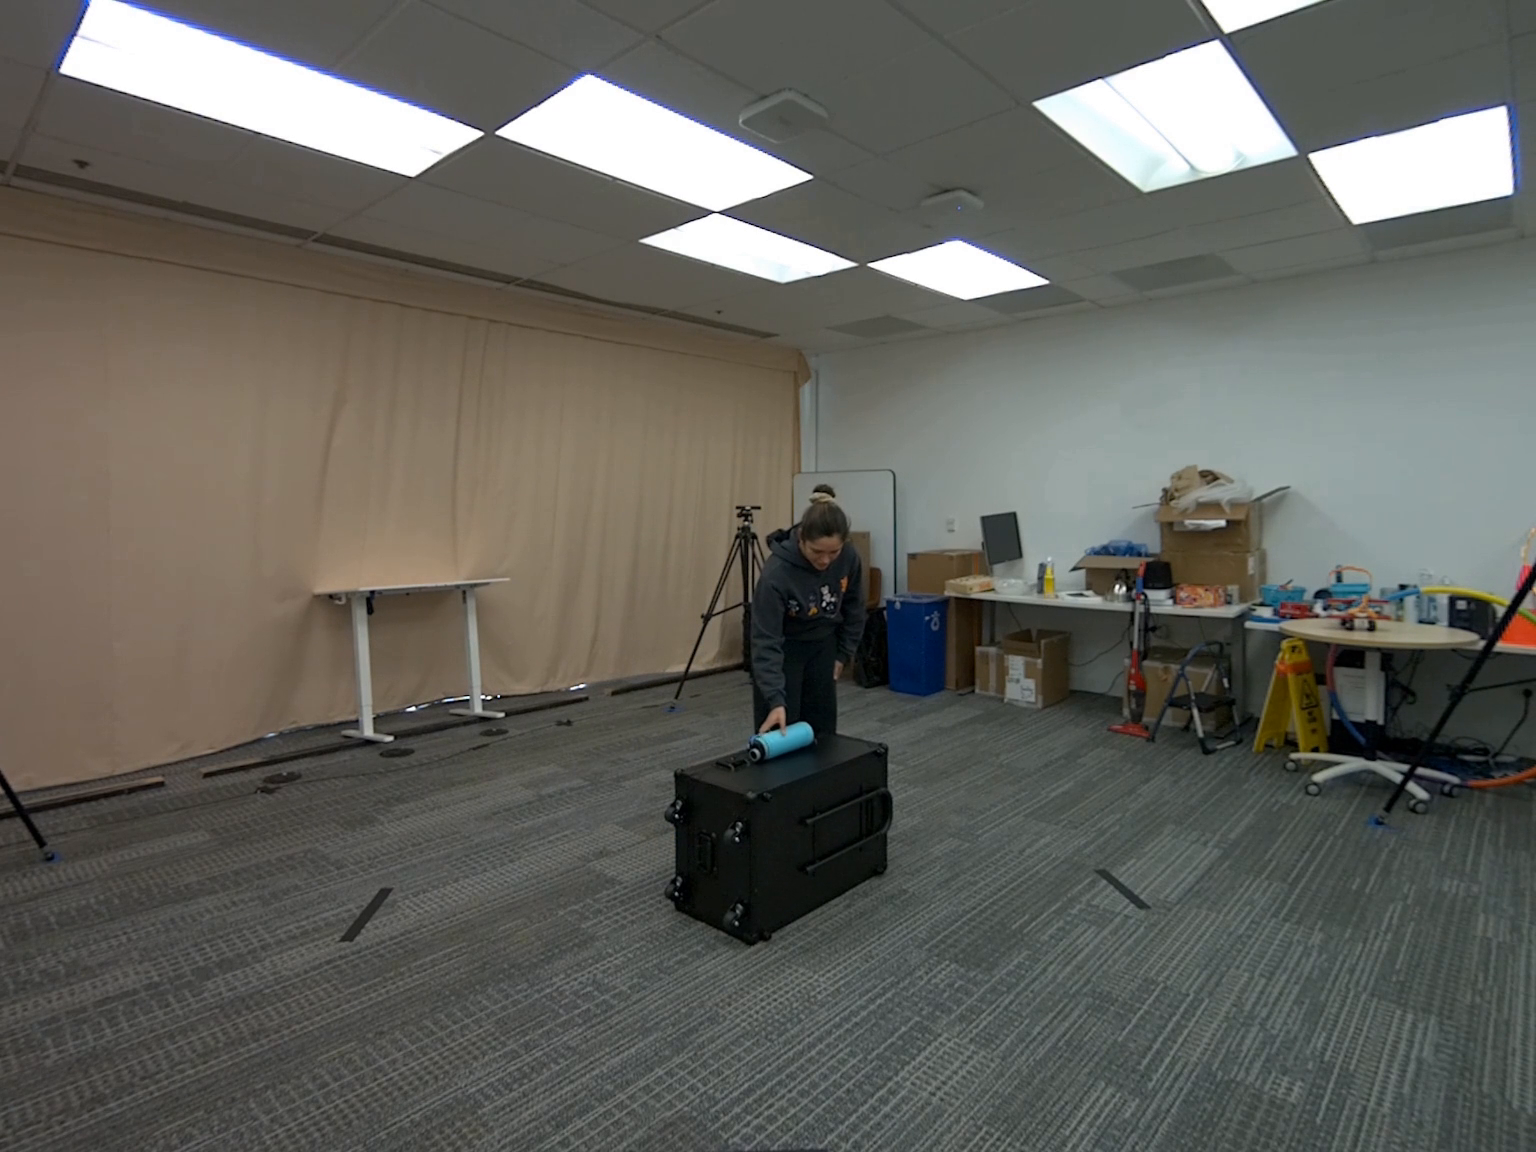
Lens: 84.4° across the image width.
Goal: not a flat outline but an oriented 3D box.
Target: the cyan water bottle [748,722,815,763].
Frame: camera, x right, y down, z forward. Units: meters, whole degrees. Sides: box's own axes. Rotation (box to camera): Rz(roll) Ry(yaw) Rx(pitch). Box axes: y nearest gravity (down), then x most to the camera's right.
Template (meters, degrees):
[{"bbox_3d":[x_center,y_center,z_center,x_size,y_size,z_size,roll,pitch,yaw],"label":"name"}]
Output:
[{"bbox_3d":[0.063,0.600,3.070,0.275,0.092,0.095,-10,9,-41],"label":"cyan water bottle"}]
